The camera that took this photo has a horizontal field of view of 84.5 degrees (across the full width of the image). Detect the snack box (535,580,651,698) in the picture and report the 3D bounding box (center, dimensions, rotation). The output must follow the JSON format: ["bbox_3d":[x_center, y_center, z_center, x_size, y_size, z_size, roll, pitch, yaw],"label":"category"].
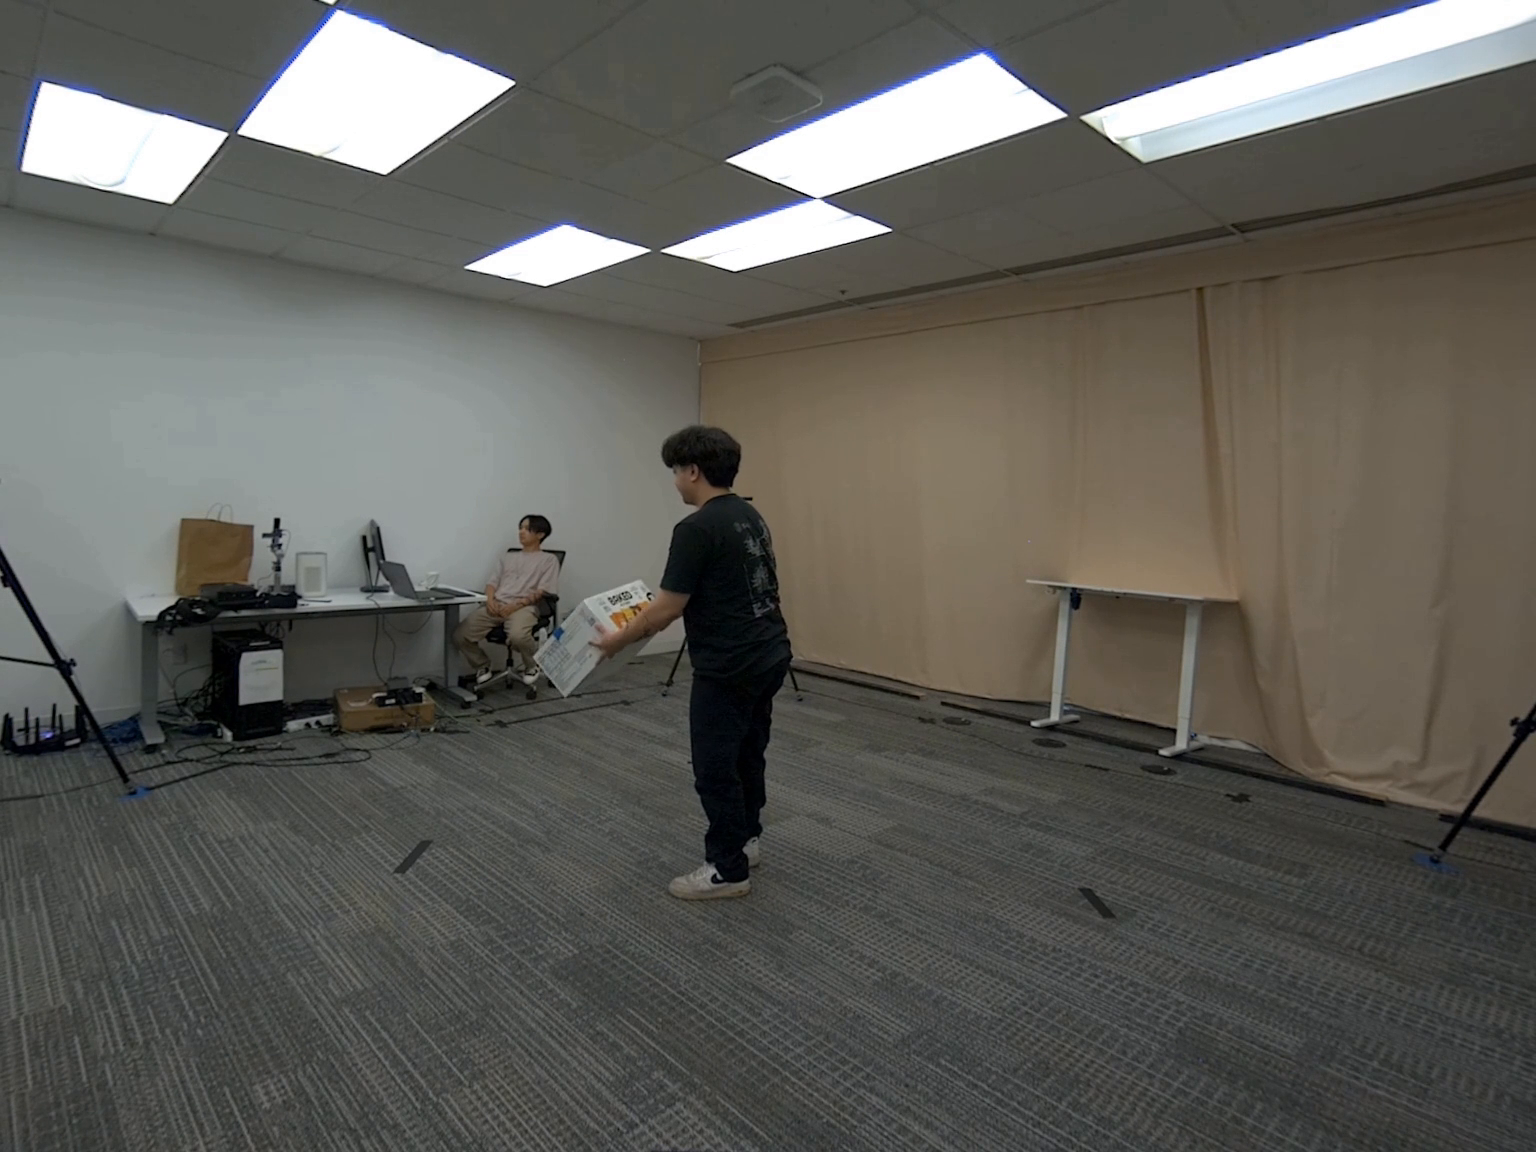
[{"bbox_3d":[-0.634,0.229,3.242,0.340,0.208,0.401,-45,-9,24],"label":"snack box"}]
